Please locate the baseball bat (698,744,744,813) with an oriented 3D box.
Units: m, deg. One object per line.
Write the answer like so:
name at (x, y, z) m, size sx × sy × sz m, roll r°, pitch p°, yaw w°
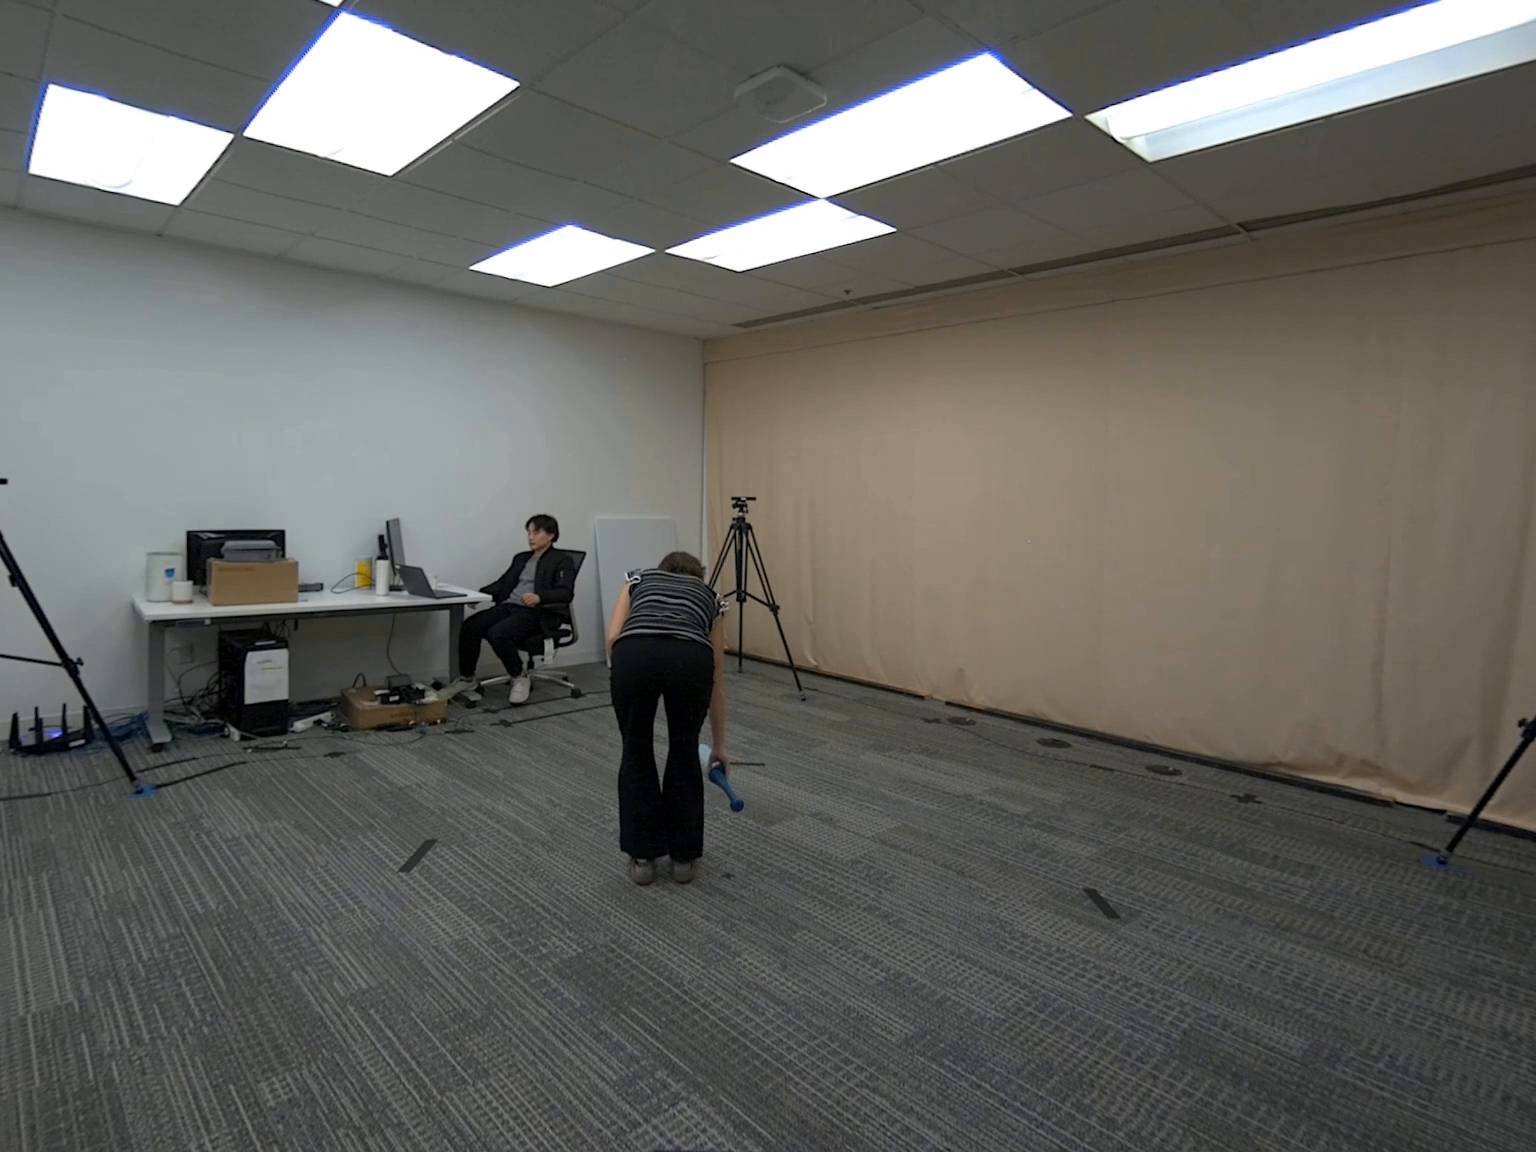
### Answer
baseball bat at (-0.201, 0.782, 3.276) m, size 0.088 × 0.088 × 0.553 m, roll 0°, pitch 10°, yaw -18°
